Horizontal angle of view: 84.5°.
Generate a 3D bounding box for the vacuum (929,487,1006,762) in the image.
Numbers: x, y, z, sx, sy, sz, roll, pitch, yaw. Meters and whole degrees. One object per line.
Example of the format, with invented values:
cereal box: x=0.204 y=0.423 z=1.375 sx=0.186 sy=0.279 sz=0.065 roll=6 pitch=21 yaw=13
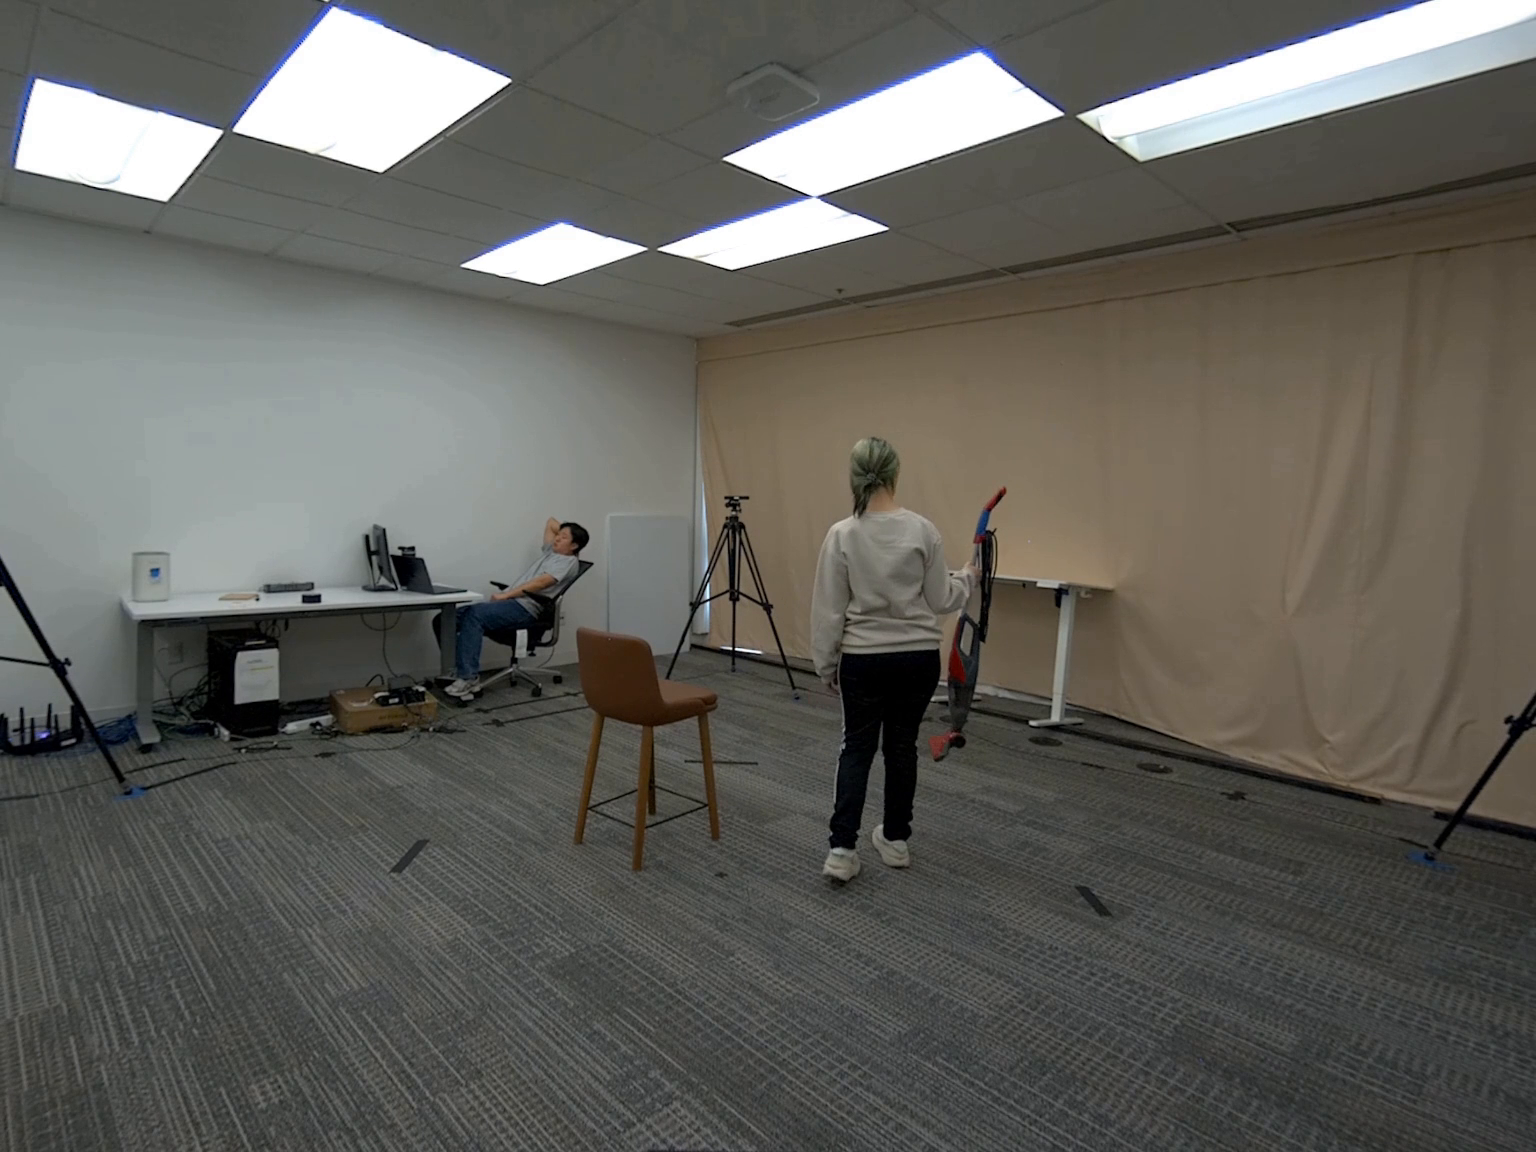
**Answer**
vacuum: x=0.817 y=0.172 z=3.352 sx=0.144 sy=1.045 sz=0.252 roll=12 pitch=6 yaw=3
